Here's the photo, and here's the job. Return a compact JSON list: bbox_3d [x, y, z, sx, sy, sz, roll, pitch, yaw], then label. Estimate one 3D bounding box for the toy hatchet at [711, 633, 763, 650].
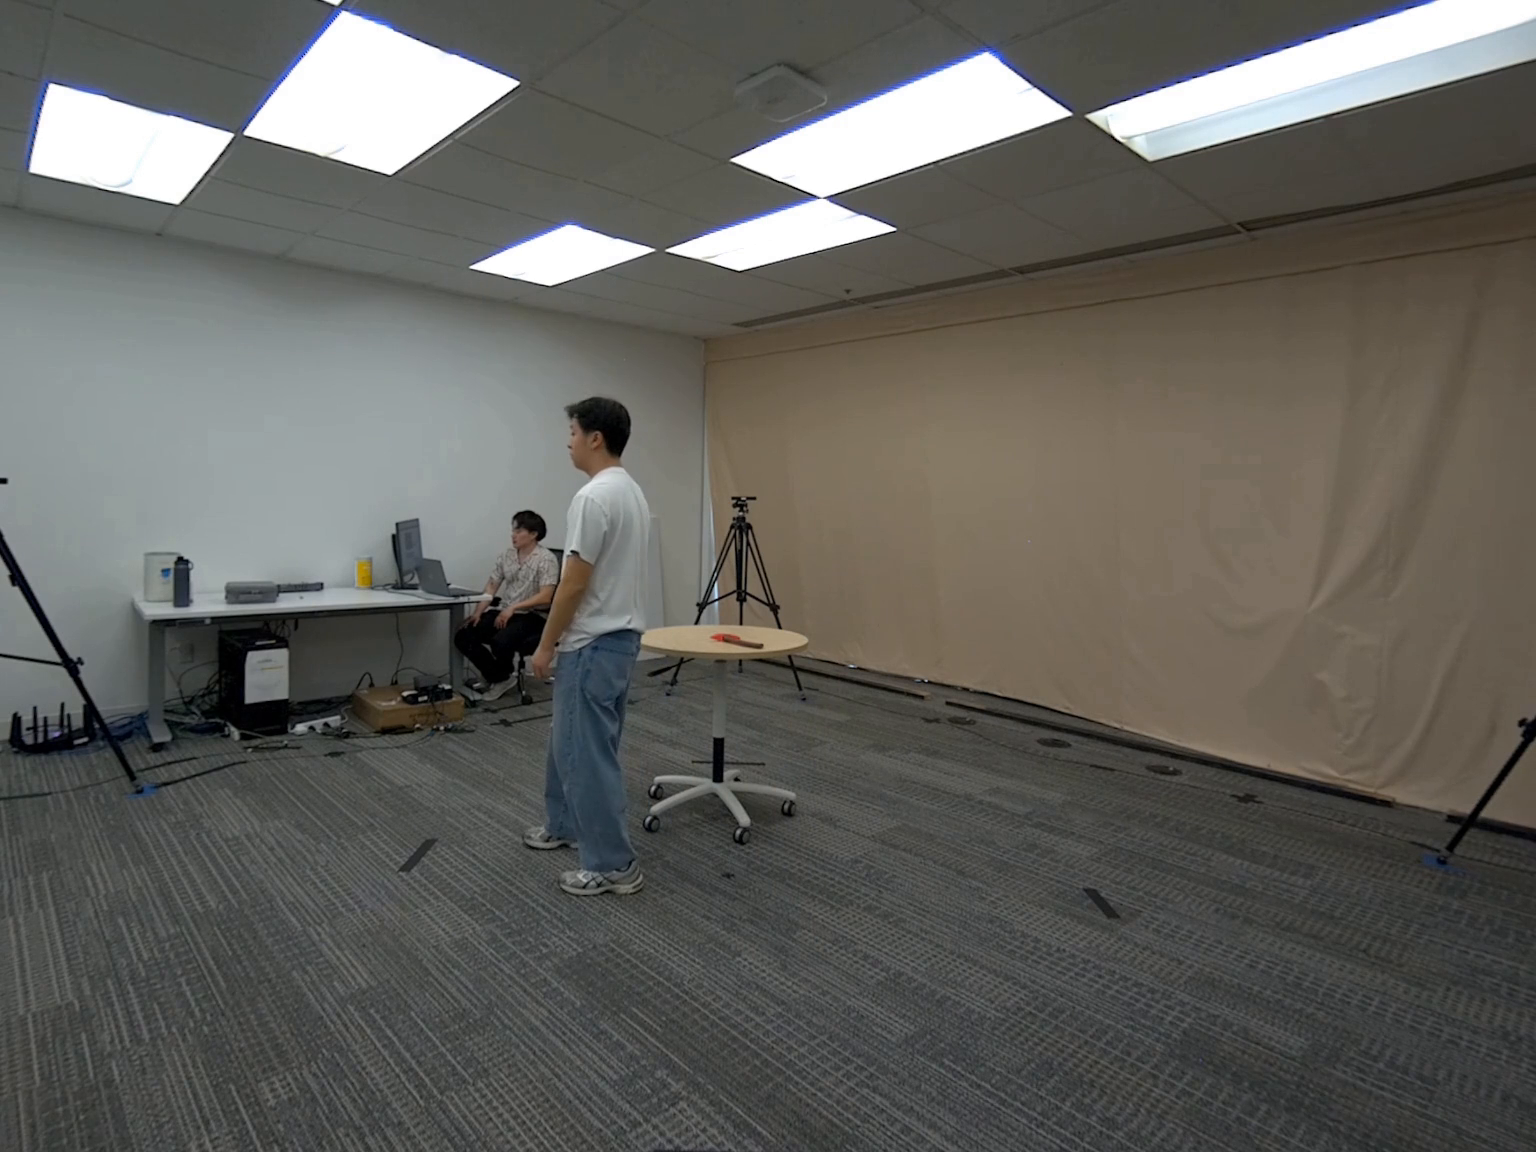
[{"bbox_3d":[-0.119,0.275,3.548,0.277,0.029,0.128,7,4,38],"label":"toy hatchet"}]
